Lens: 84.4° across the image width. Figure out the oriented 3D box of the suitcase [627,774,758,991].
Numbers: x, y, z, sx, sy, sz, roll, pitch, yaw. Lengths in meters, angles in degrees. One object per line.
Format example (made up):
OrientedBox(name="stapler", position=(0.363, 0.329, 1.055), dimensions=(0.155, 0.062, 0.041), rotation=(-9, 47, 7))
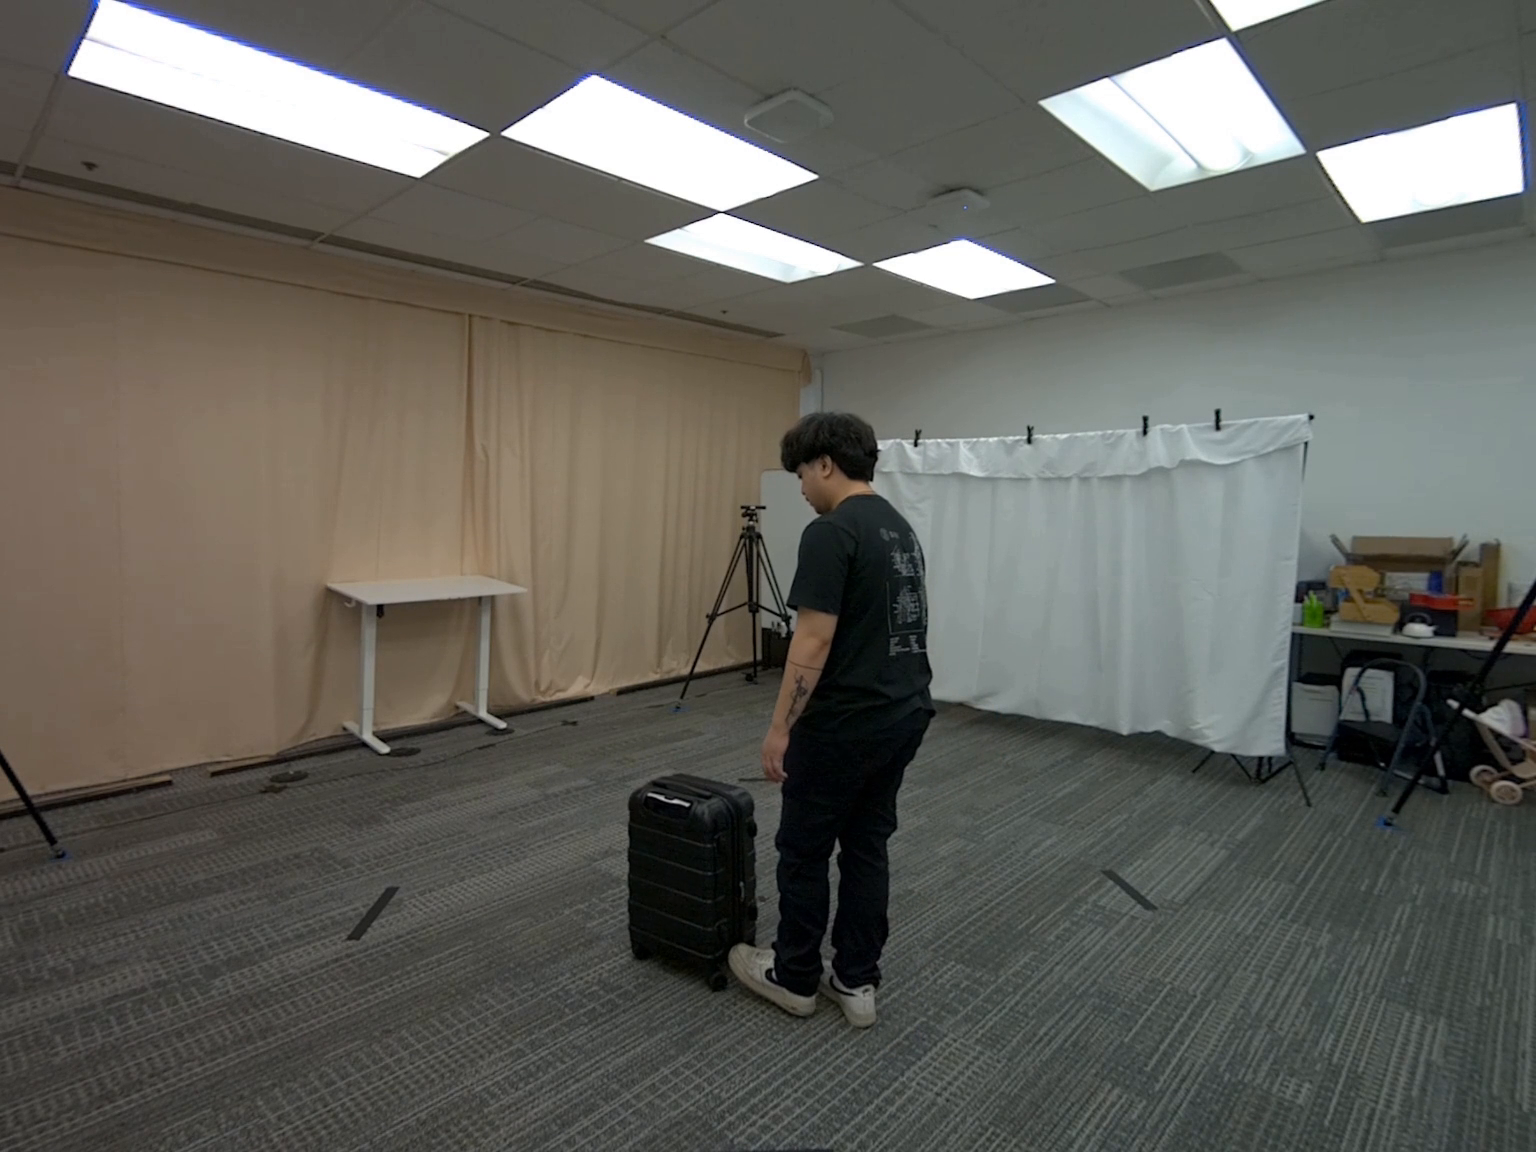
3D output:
OrientedBox(name="suitcase", position=(-0.239, 0.903, 2.582), dimensions=(0.387, 0.548, 0.241), rotation=(1, 3, 35))
